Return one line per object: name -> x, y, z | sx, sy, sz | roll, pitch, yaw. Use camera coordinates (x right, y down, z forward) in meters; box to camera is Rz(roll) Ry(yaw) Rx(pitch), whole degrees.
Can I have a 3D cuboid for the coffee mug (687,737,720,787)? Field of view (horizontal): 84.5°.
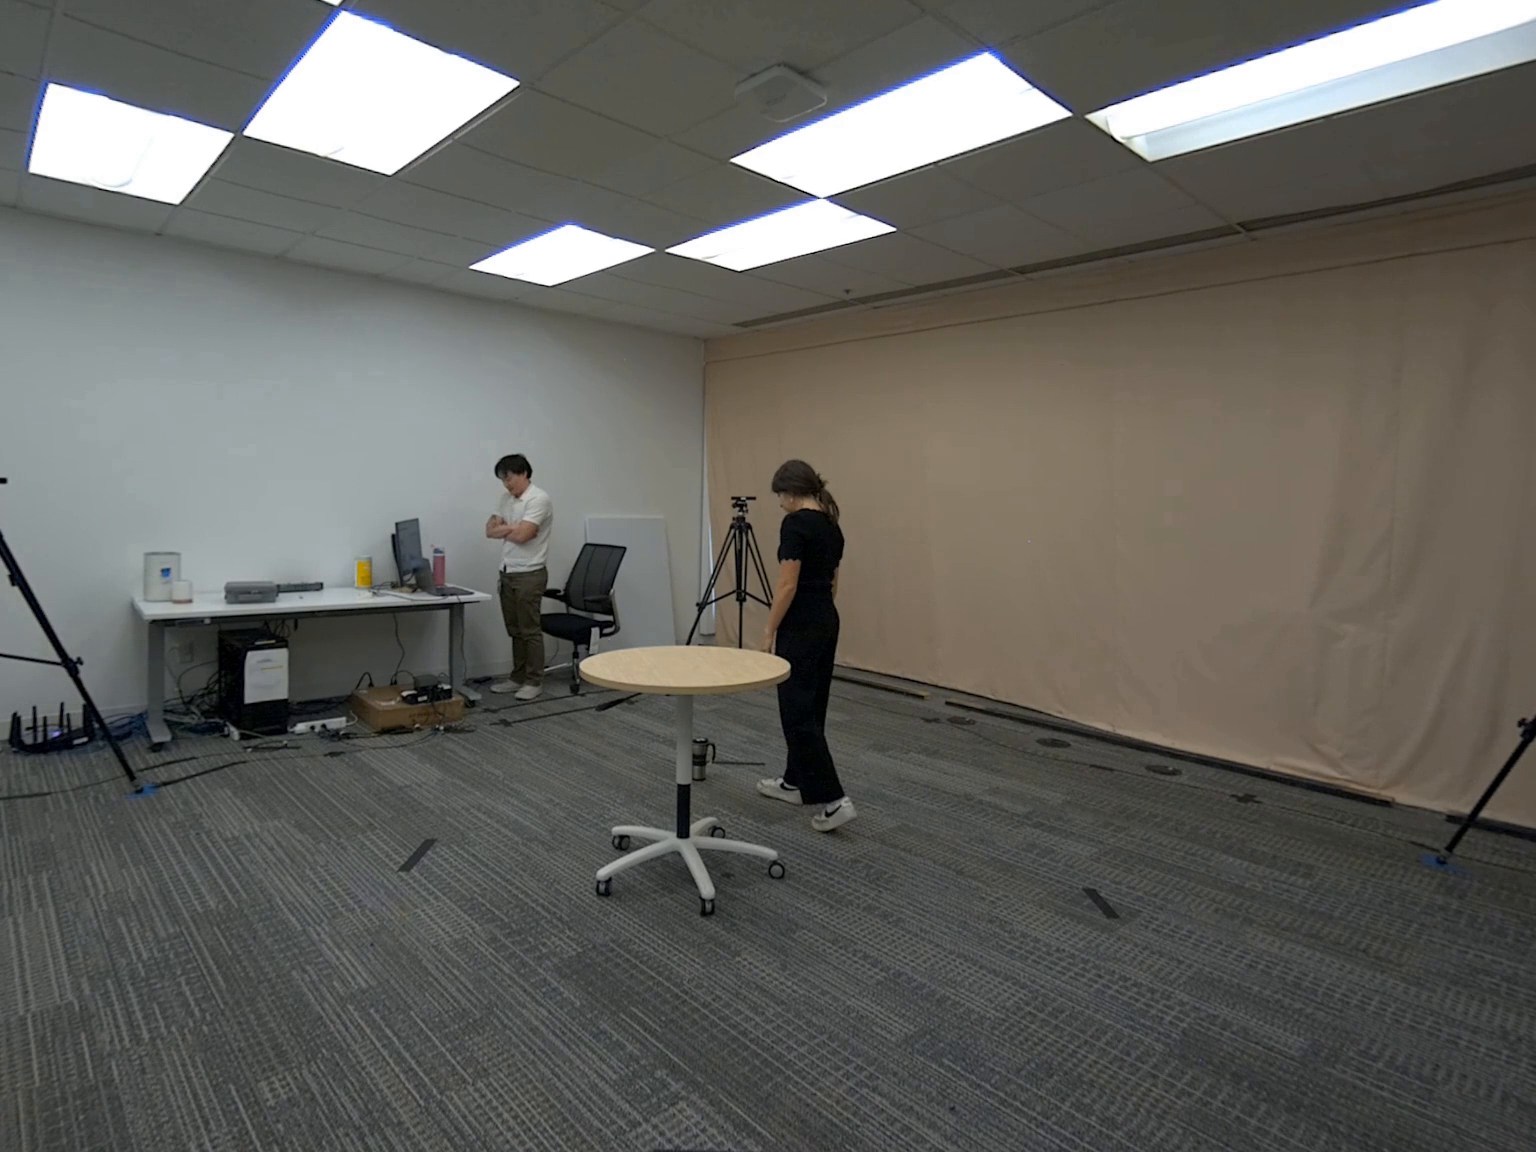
coffee mug -> -0.321, 0.911, 4.159 | 0.124, 0.203, 0.086 | 2, 0, 31
